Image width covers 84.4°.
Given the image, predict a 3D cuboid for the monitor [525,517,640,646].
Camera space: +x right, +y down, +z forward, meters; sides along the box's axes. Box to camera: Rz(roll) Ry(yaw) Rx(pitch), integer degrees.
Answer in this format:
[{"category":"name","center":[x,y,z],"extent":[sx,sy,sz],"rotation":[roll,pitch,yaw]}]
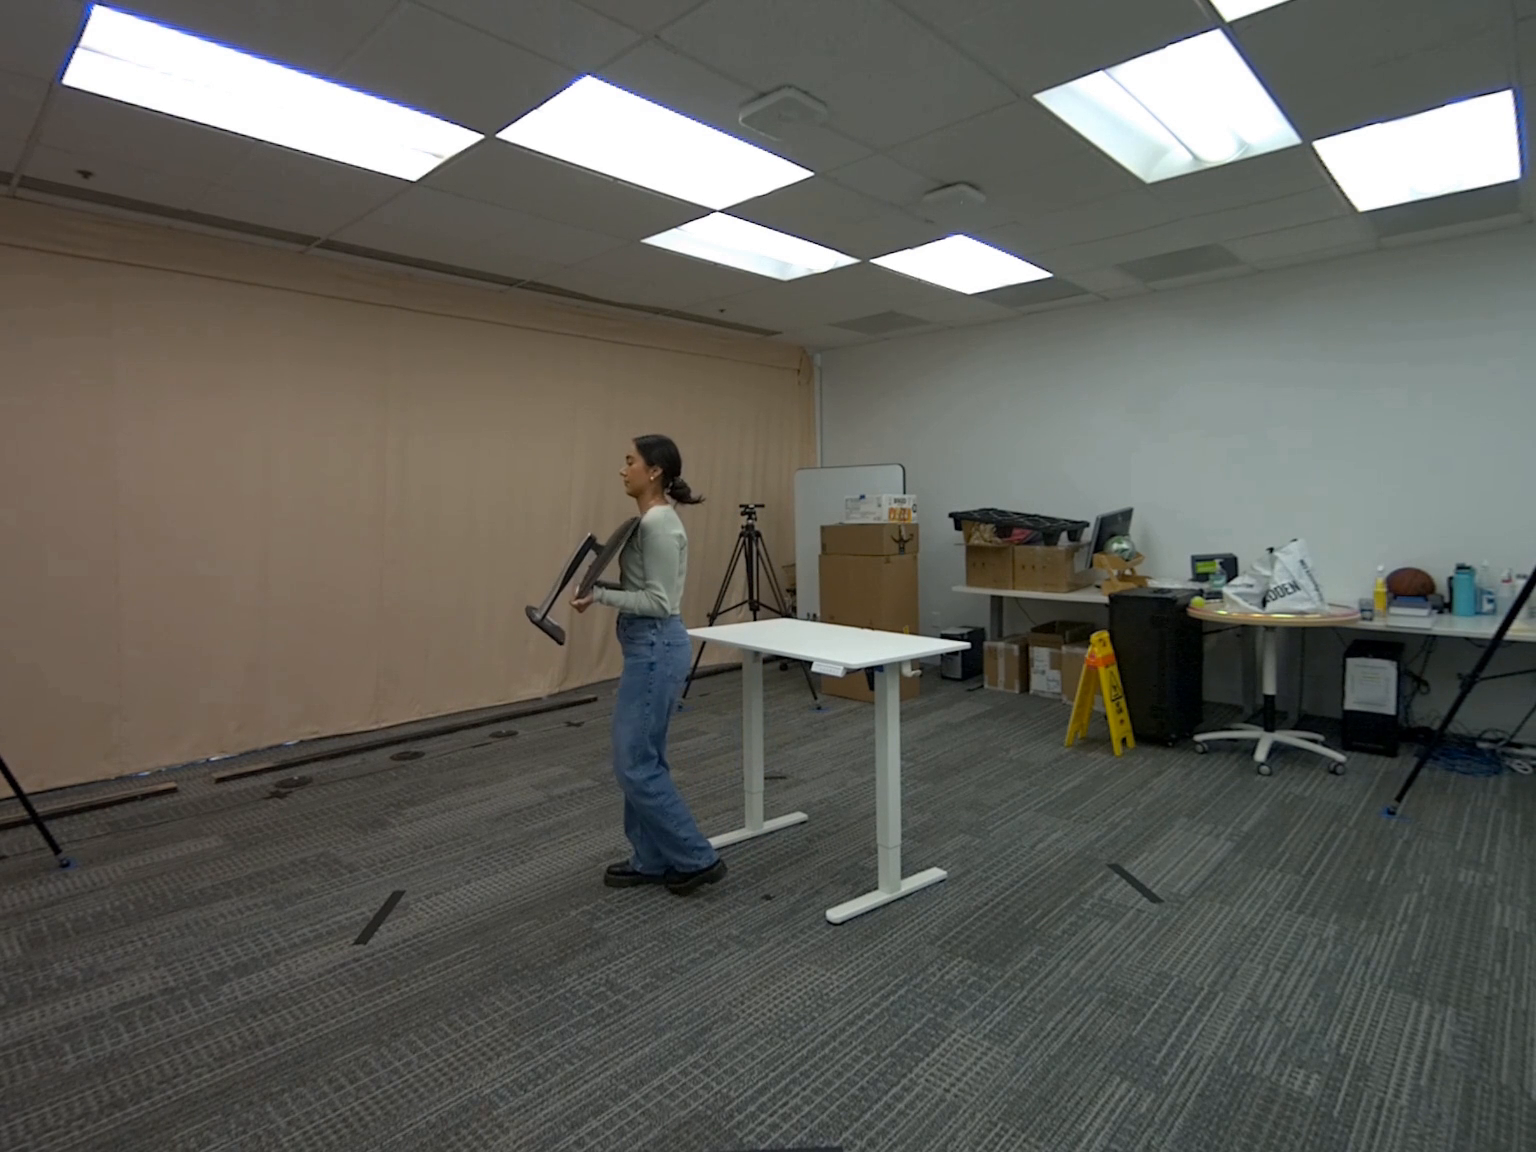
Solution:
[{"category":"monitor","center":[-0.649,-0.011,3.025],"extent":[0.185,0.522,0.546],"rotation":[42,-3,-11]}]
